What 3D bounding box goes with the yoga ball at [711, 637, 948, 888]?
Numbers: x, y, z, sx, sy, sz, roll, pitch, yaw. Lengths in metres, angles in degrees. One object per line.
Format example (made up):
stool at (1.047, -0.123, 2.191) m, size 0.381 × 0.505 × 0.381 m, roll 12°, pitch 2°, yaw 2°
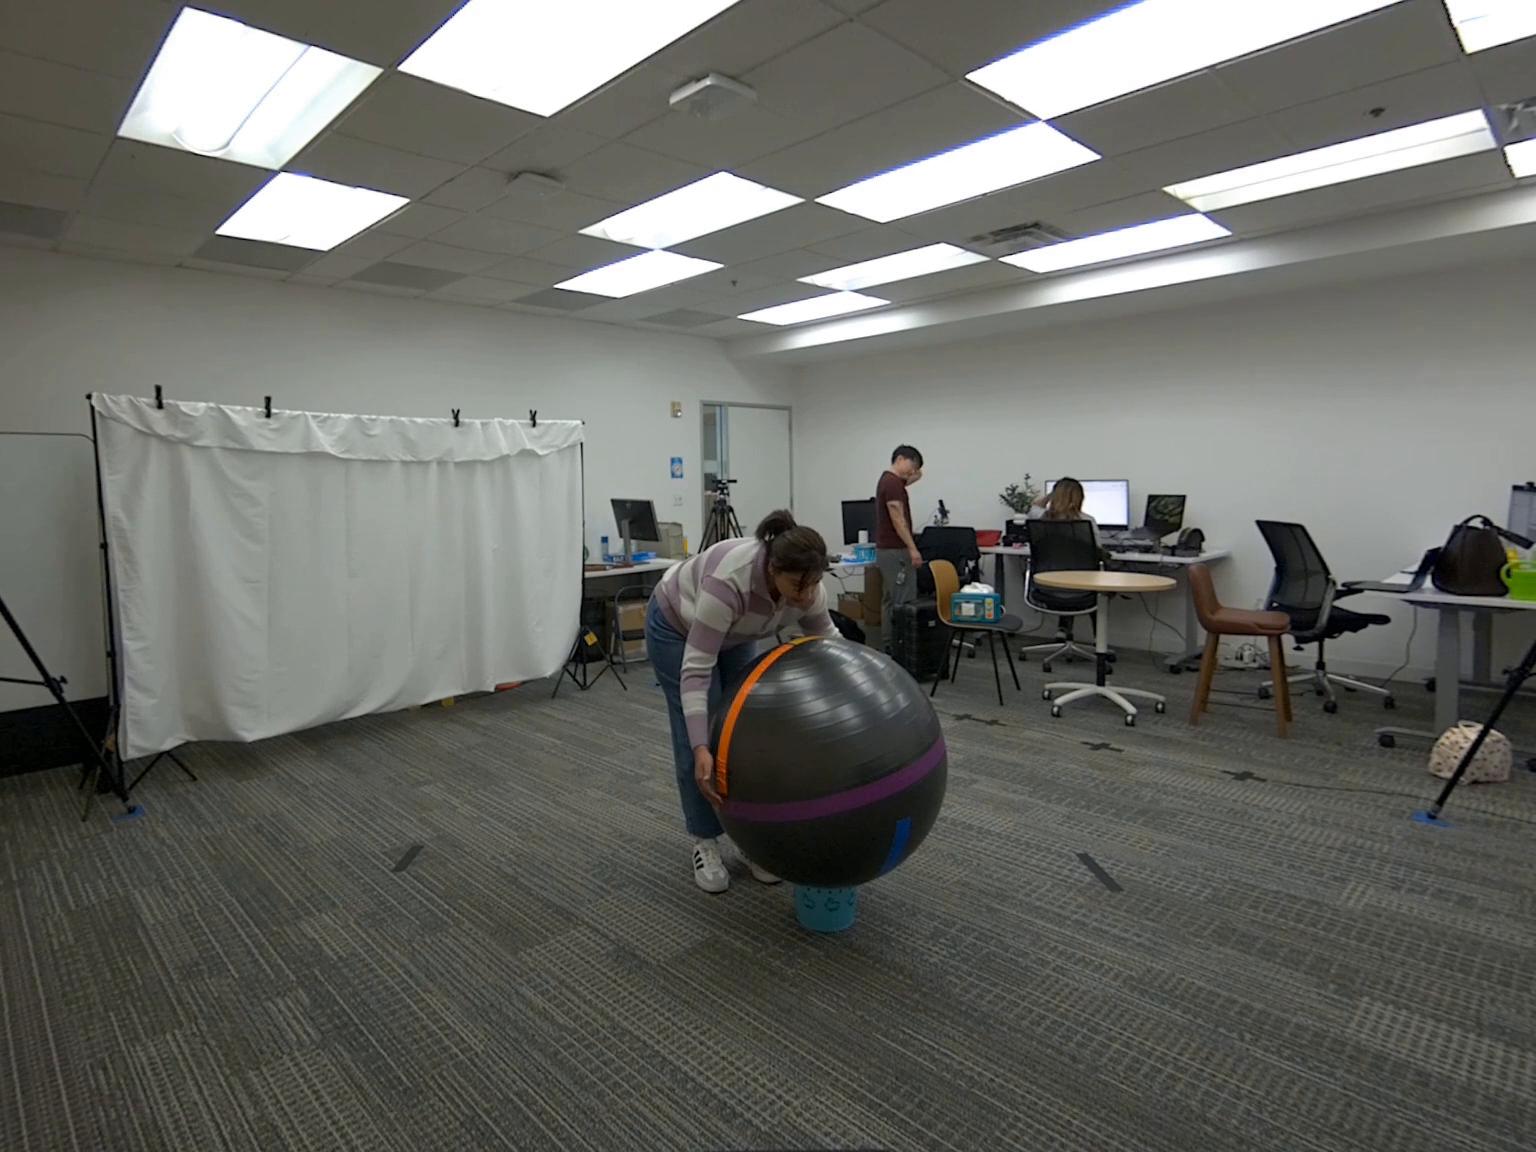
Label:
yoga ball at (0.182, 0.573, 2.688) m, size 0.757 × 0.755 × 0.762 m, roll -1°, pitch 5°, yaw -2°
